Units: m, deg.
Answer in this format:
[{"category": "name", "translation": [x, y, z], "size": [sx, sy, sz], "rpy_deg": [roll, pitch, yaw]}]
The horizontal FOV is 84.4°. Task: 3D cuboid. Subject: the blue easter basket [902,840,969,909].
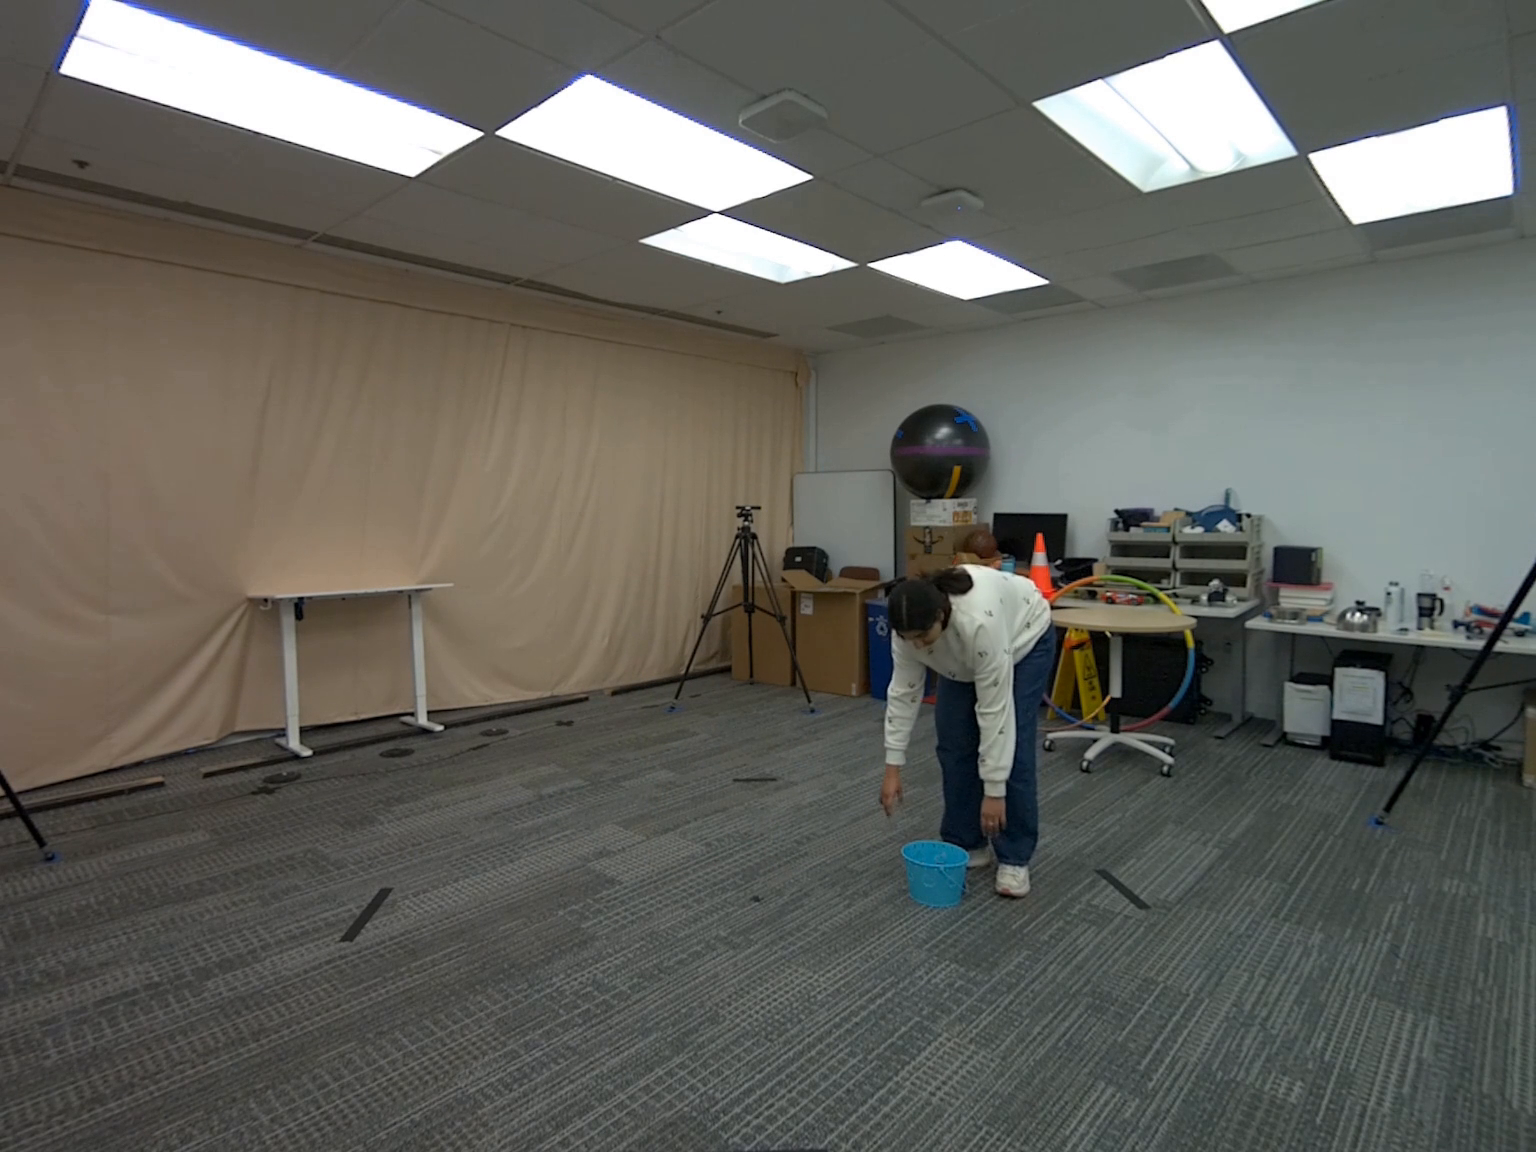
[{"category": "blue easter basket", "translation": [0.599, 1.062, 2.997], "size": [0.243, 0.155, 0.244], "rpy_deg": [0, 5, -2]}]
